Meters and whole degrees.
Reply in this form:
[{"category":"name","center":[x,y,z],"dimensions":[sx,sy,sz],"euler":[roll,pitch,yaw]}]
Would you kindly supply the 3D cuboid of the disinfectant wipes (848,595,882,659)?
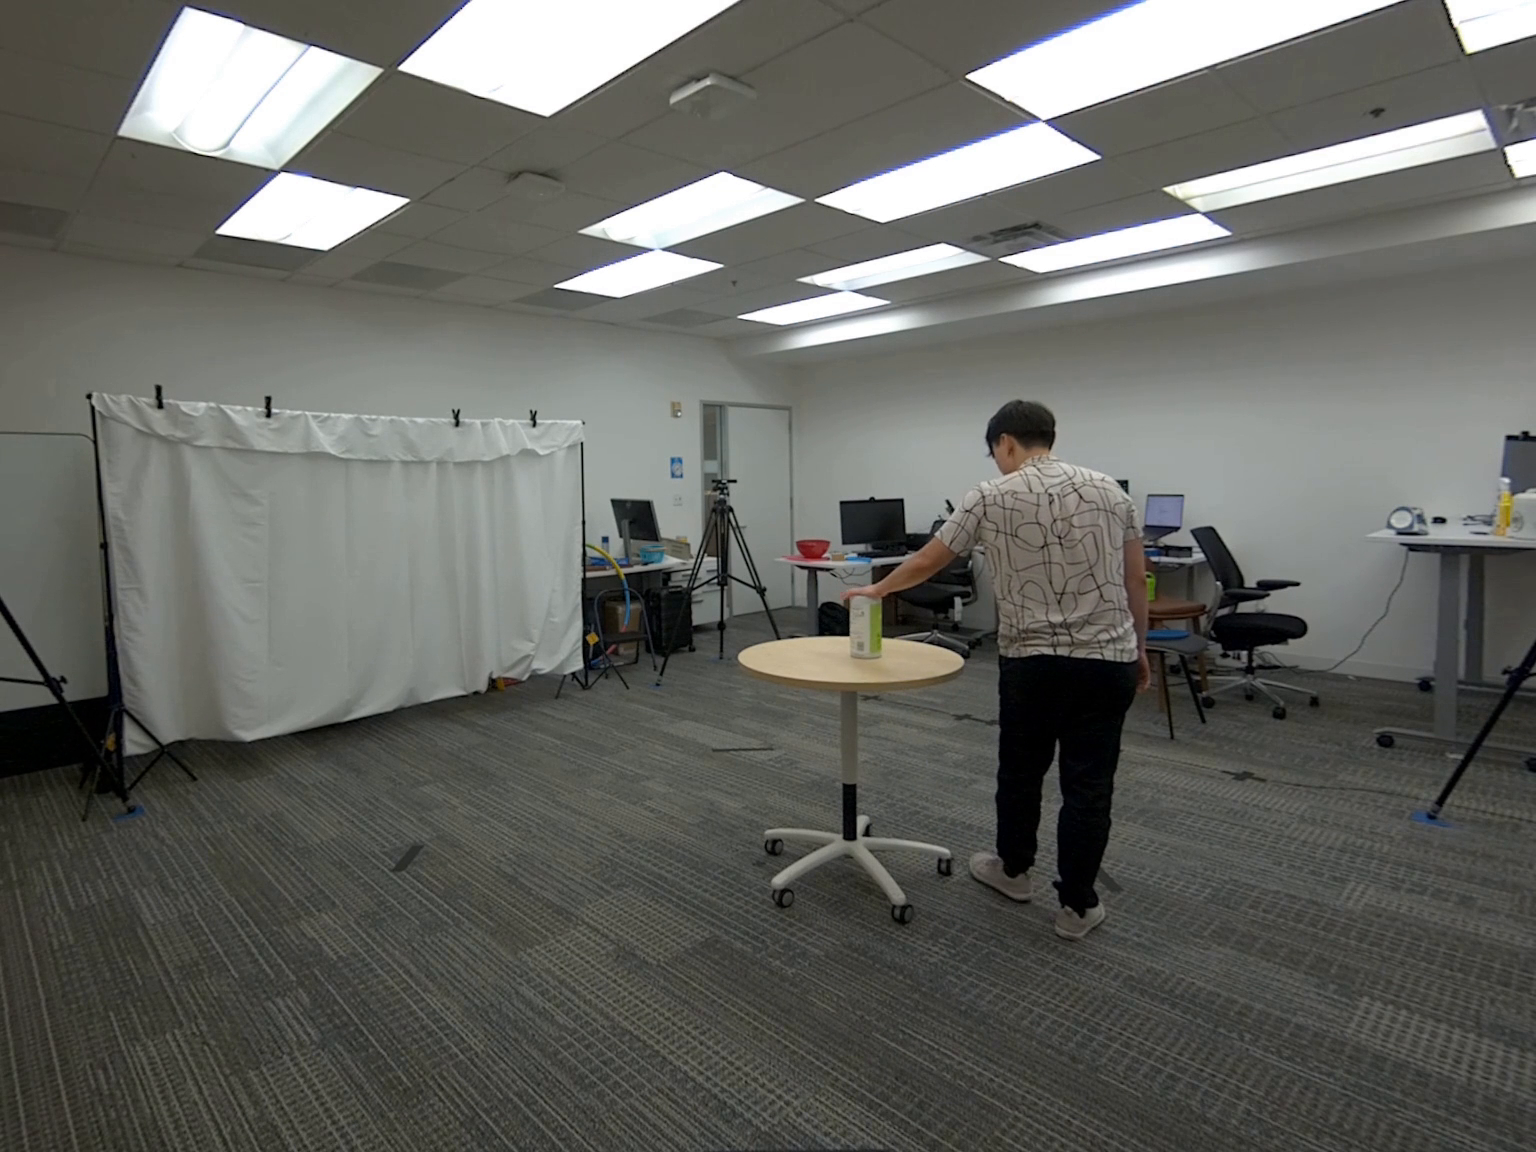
[{"category":"disinfectant wipes","center":[0.343,0.176,2.945],"dimensions":[0.118,0.217,0.118],"euler":[0,4,-2]}]
